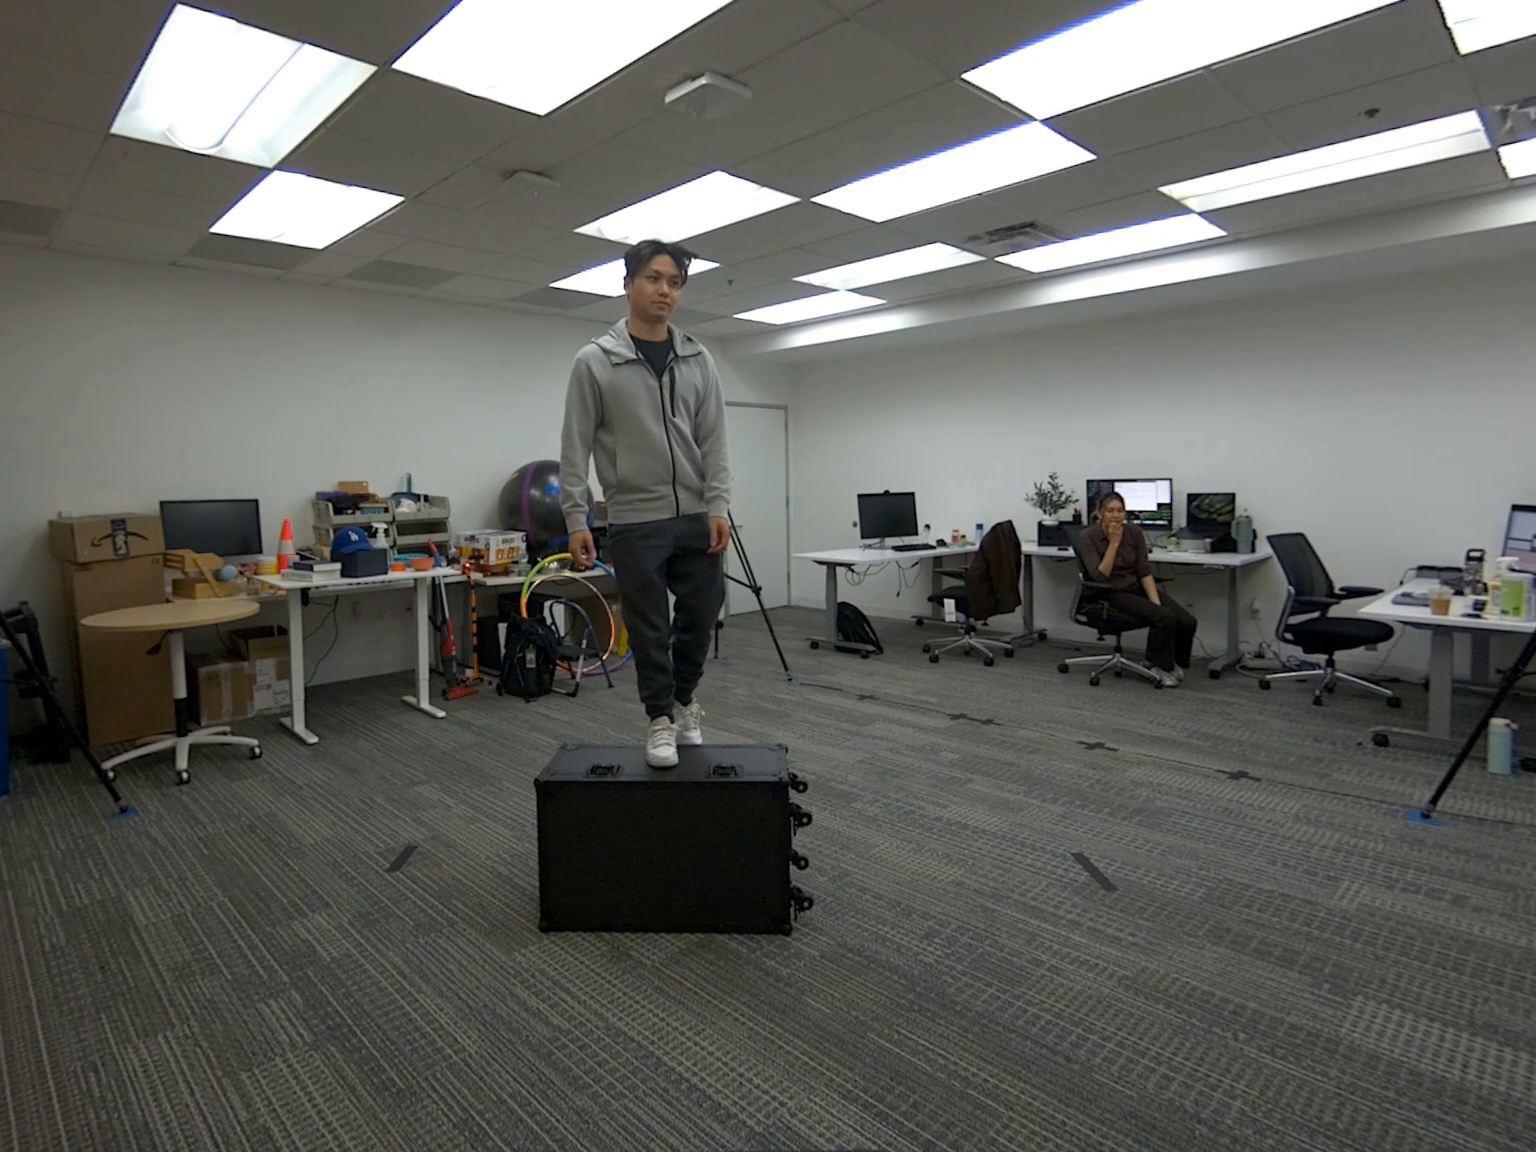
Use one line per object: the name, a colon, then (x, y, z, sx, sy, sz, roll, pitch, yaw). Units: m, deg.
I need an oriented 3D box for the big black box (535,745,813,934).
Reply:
big black box: (-0.290, 0.842, 2.806, 0.865, 0.519, 0.396, 0, 4, 3)
